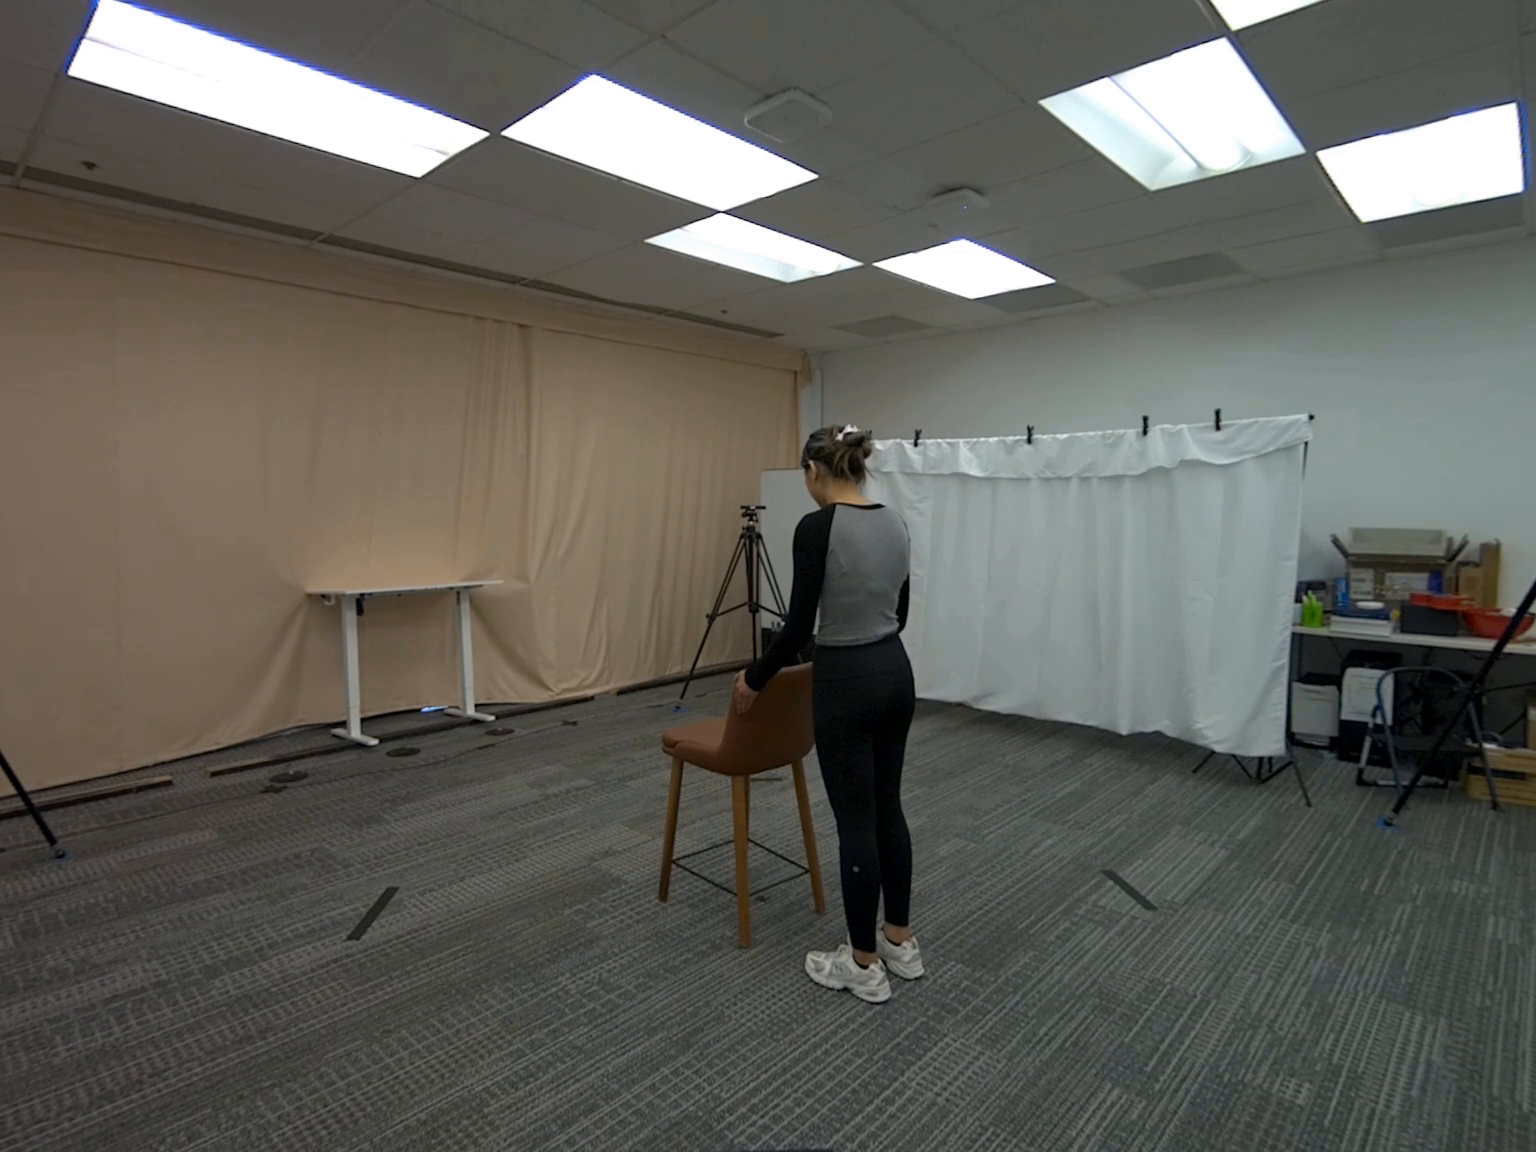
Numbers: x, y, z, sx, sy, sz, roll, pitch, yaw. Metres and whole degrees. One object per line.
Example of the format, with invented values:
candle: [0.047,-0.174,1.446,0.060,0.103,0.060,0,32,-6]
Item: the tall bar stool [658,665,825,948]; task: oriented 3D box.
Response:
tall bar stool: [-0.082,0.712,2.906,0.442,0.887,0.483,-3,7,-41]
